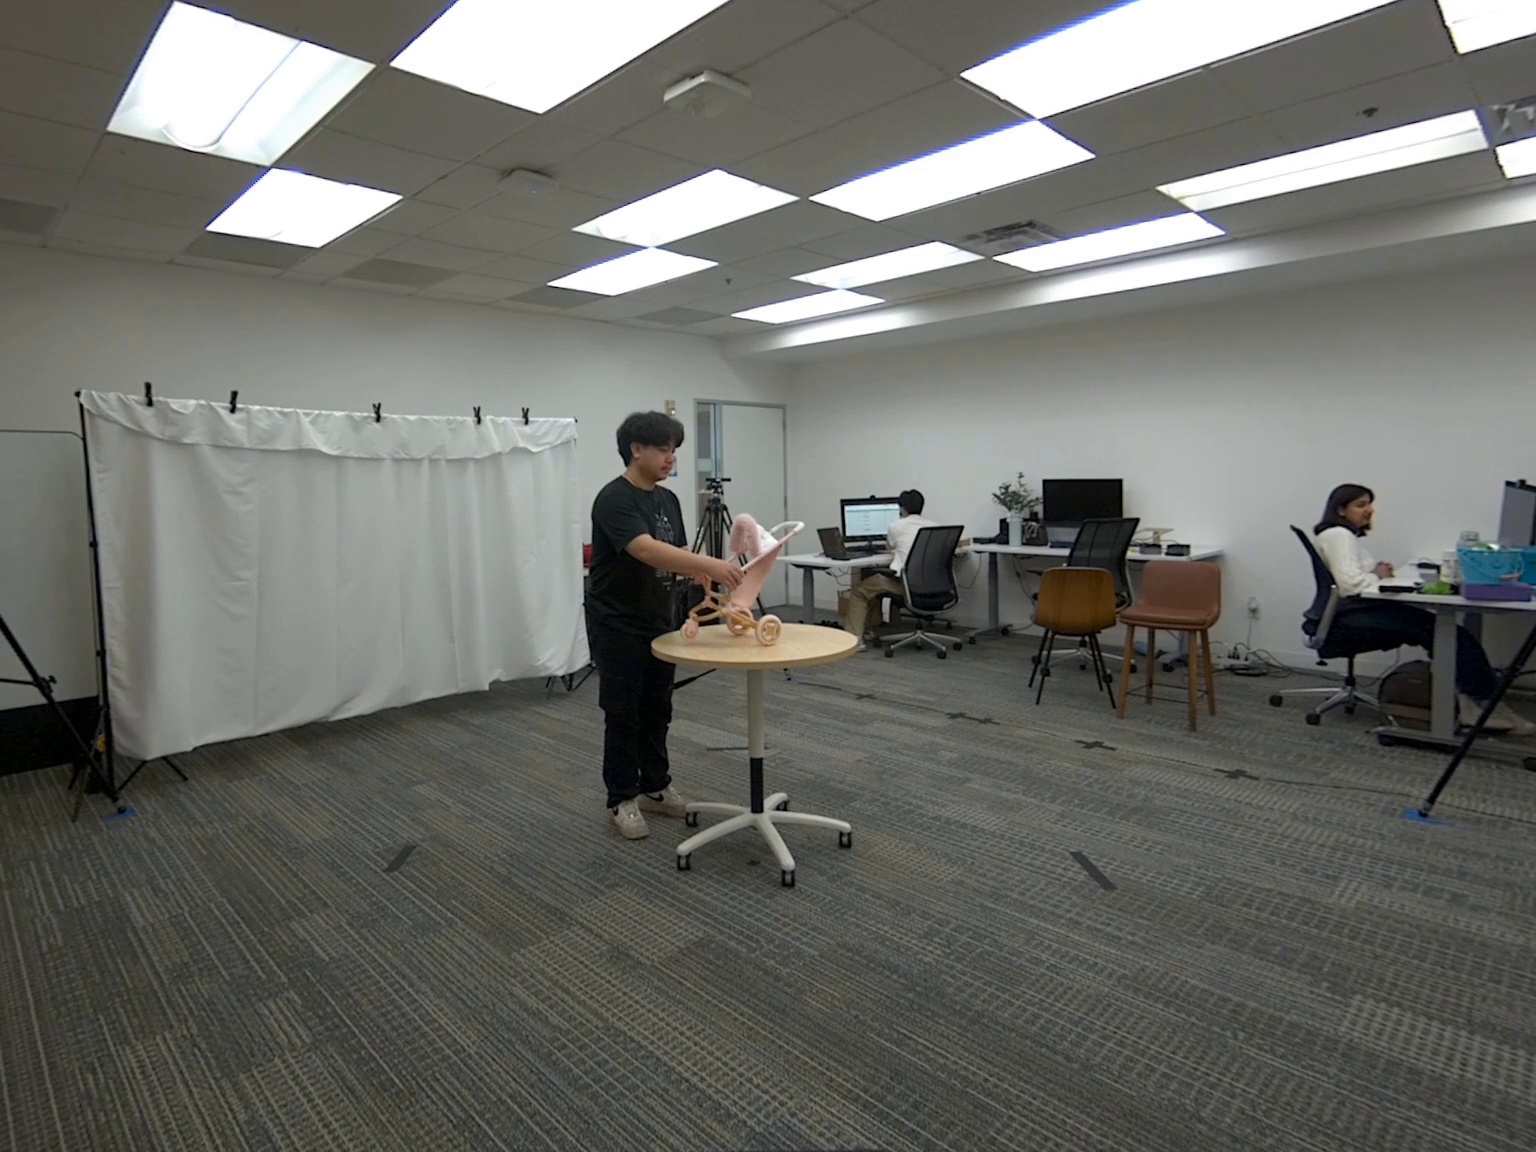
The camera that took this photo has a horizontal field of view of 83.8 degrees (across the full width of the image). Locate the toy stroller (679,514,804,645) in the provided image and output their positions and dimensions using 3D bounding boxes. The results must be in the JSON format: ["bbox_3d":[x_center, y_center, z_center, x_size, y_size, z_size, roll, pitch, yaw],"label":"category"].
[{"bbox_3d":[-0.104,0.008,3.158,0.334,0.536,0.287,14,-3,-21],"label":"toy stroller"}]
